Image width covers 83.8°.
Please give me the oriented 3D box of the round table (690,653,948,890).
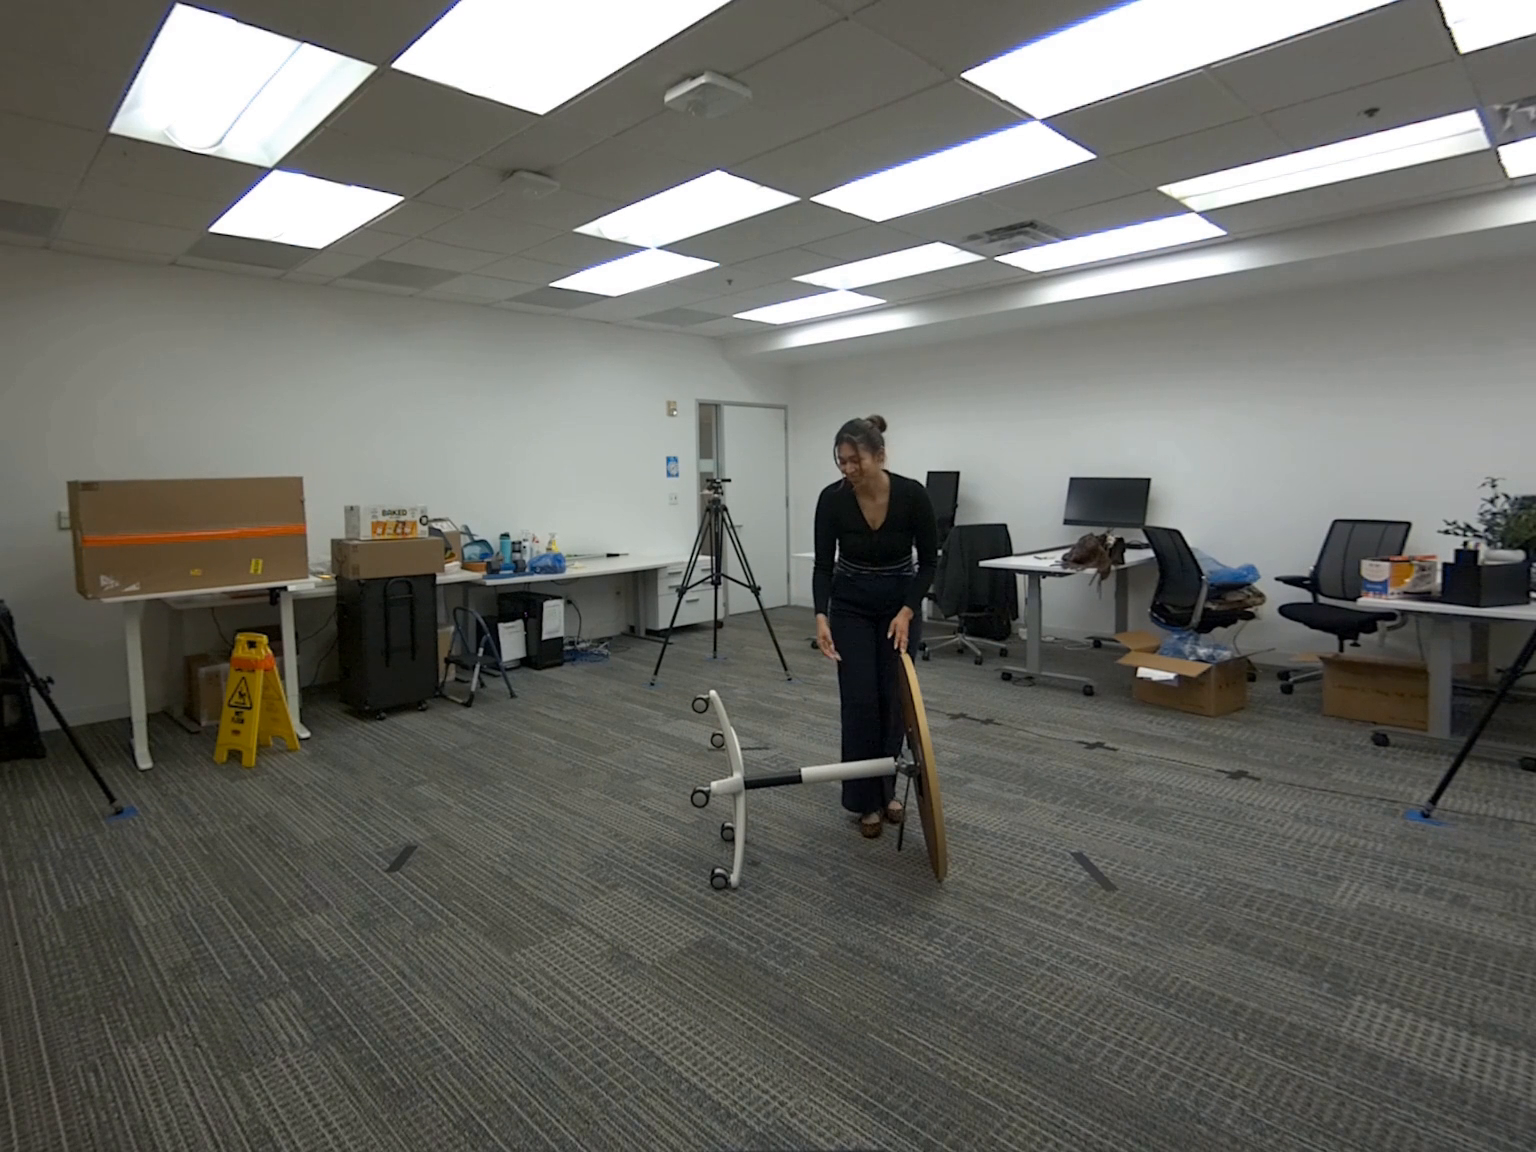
[{"bbox_3d":[0.165,0.720,3.072,0.798,0.761,0.763,-7,4,5],"label":"round table"}]
